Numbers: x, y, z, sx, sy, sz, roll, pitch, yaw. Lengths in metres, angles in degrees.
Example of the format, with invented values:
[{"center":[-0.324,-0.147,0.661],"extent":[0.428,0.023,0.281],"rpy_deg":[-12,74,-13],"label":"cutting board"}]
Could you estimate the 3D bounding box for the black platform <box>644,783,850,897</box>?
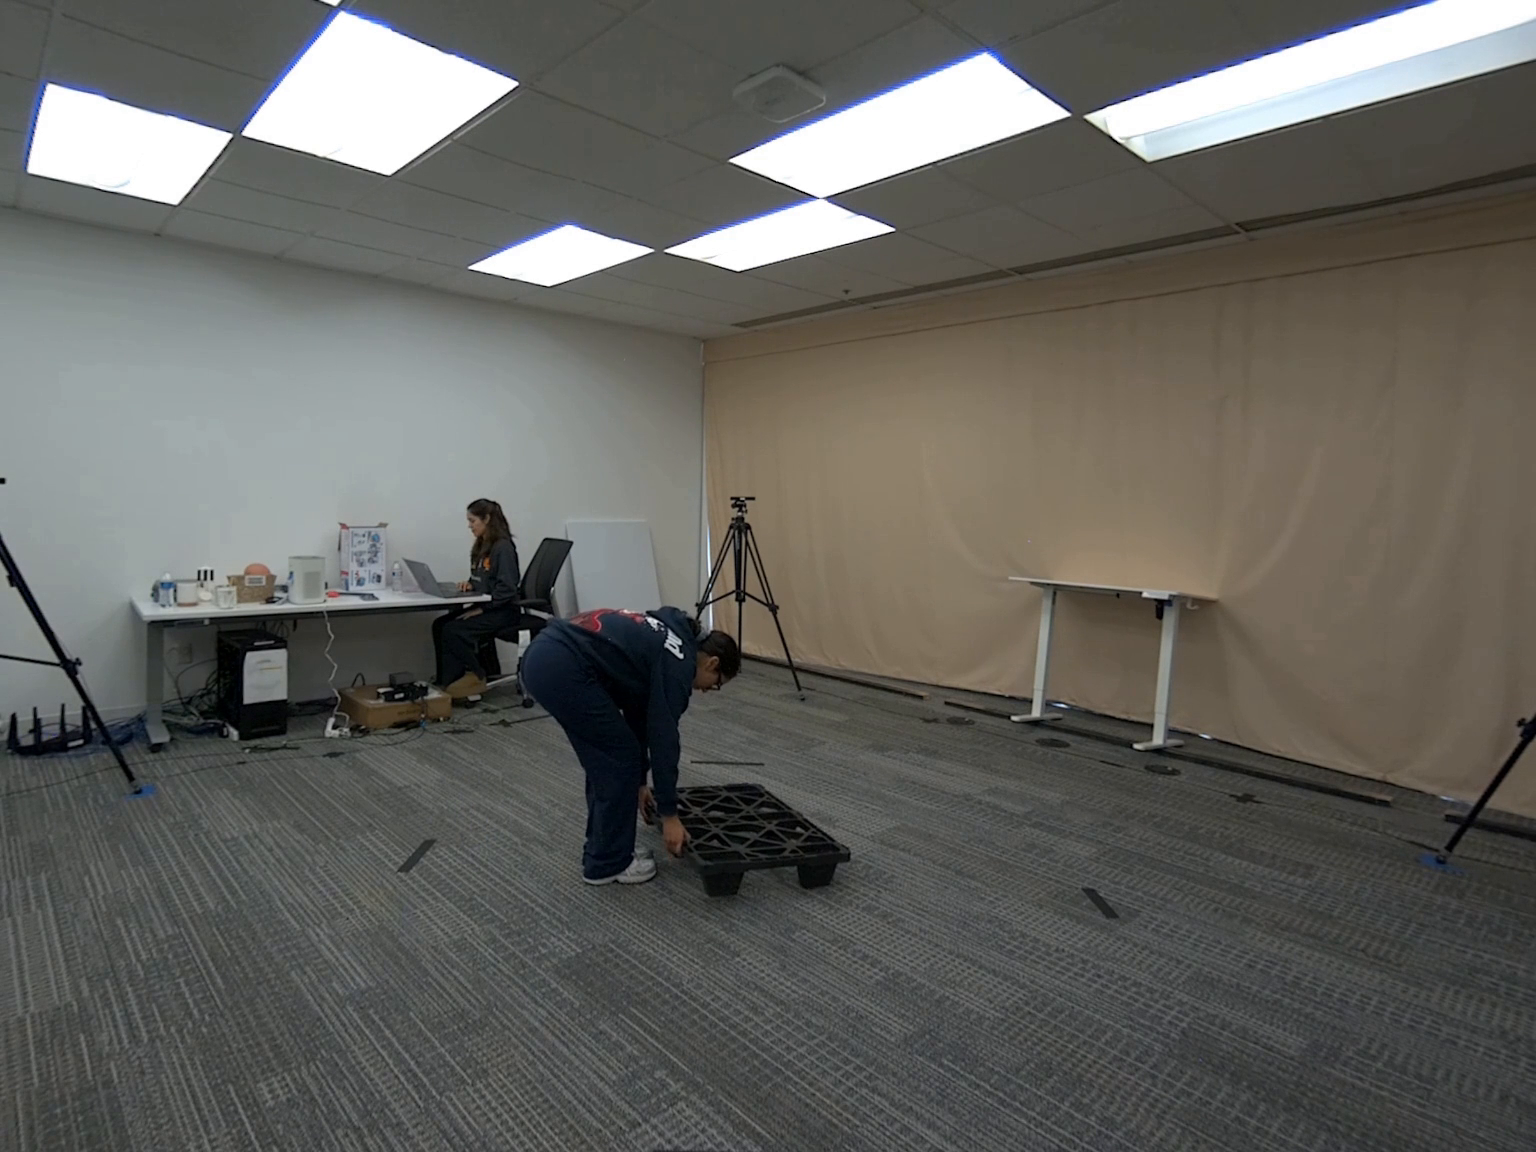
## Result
[{"center":[-0.146,1.009,3.284],"extent":[0.593,0.143,0.822],"rpy_deg":[4,3,-26],"label":"black platform"}]
